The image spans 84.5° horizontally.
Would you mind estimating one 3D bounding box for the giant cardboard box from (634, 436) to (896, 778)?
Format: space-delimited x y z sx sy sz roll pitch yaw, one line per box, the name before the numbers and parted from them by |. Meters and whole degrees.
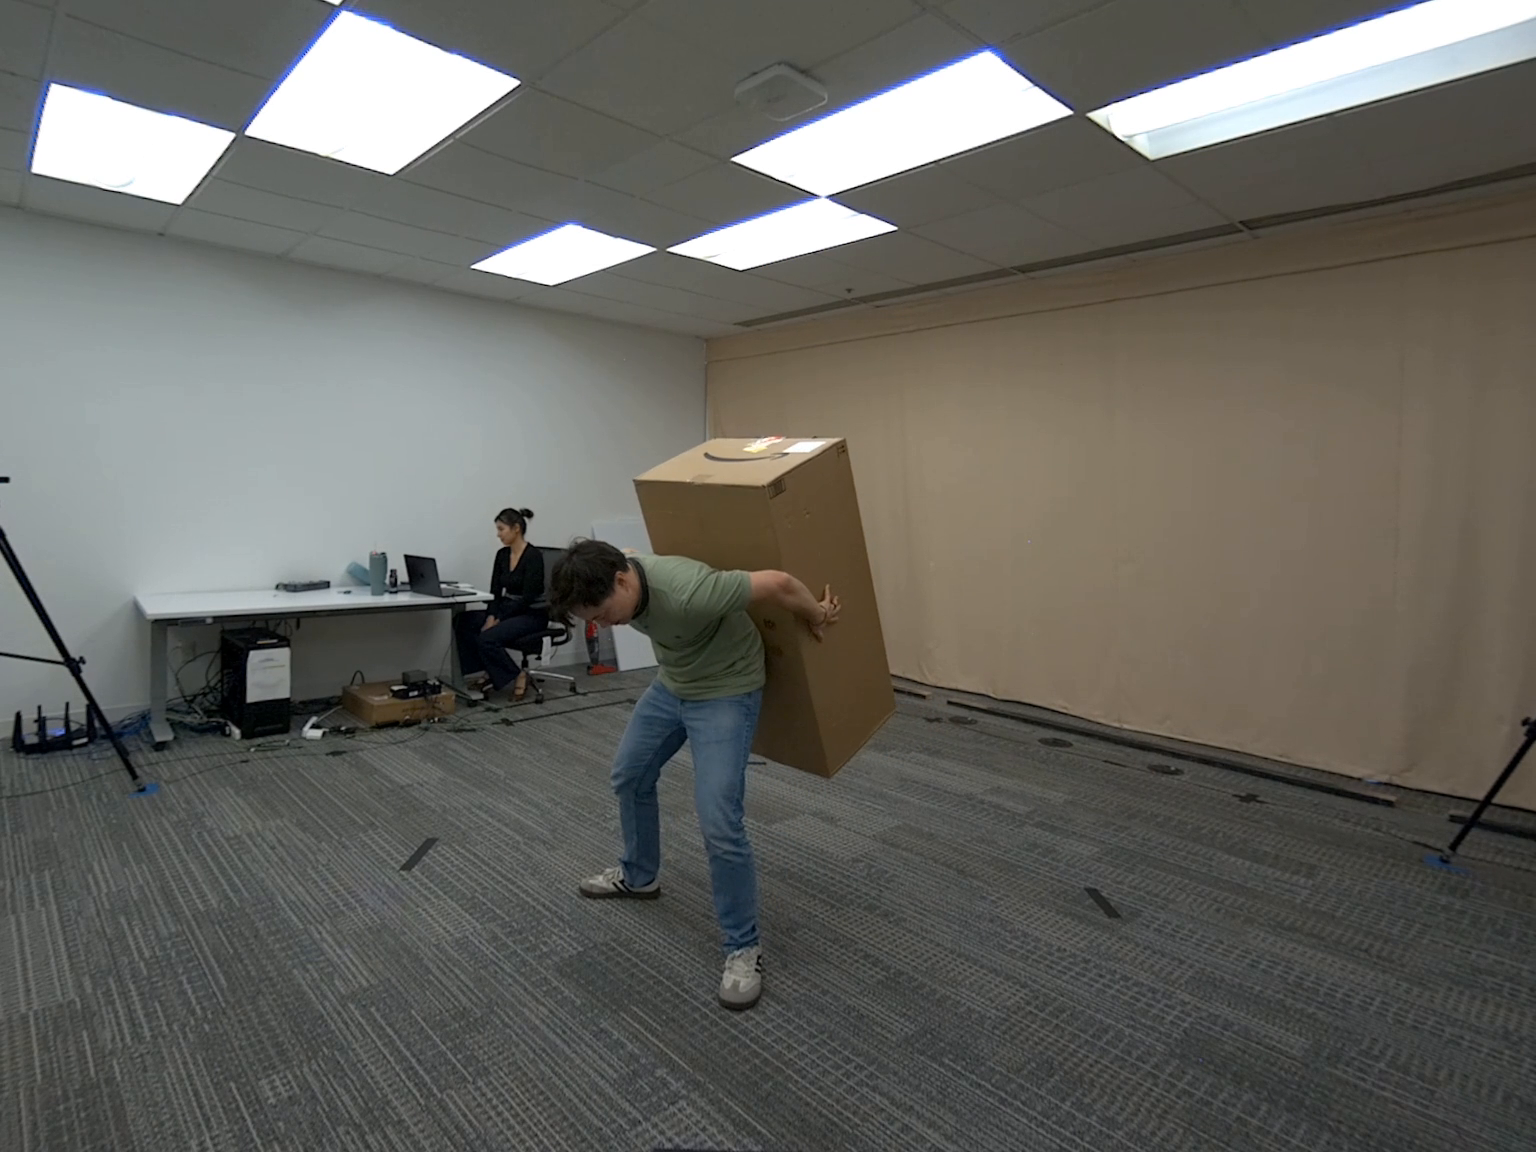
giant cardboard box | 0.004 0.082 2.874 0.593 1.007 0.422 8 29 42
